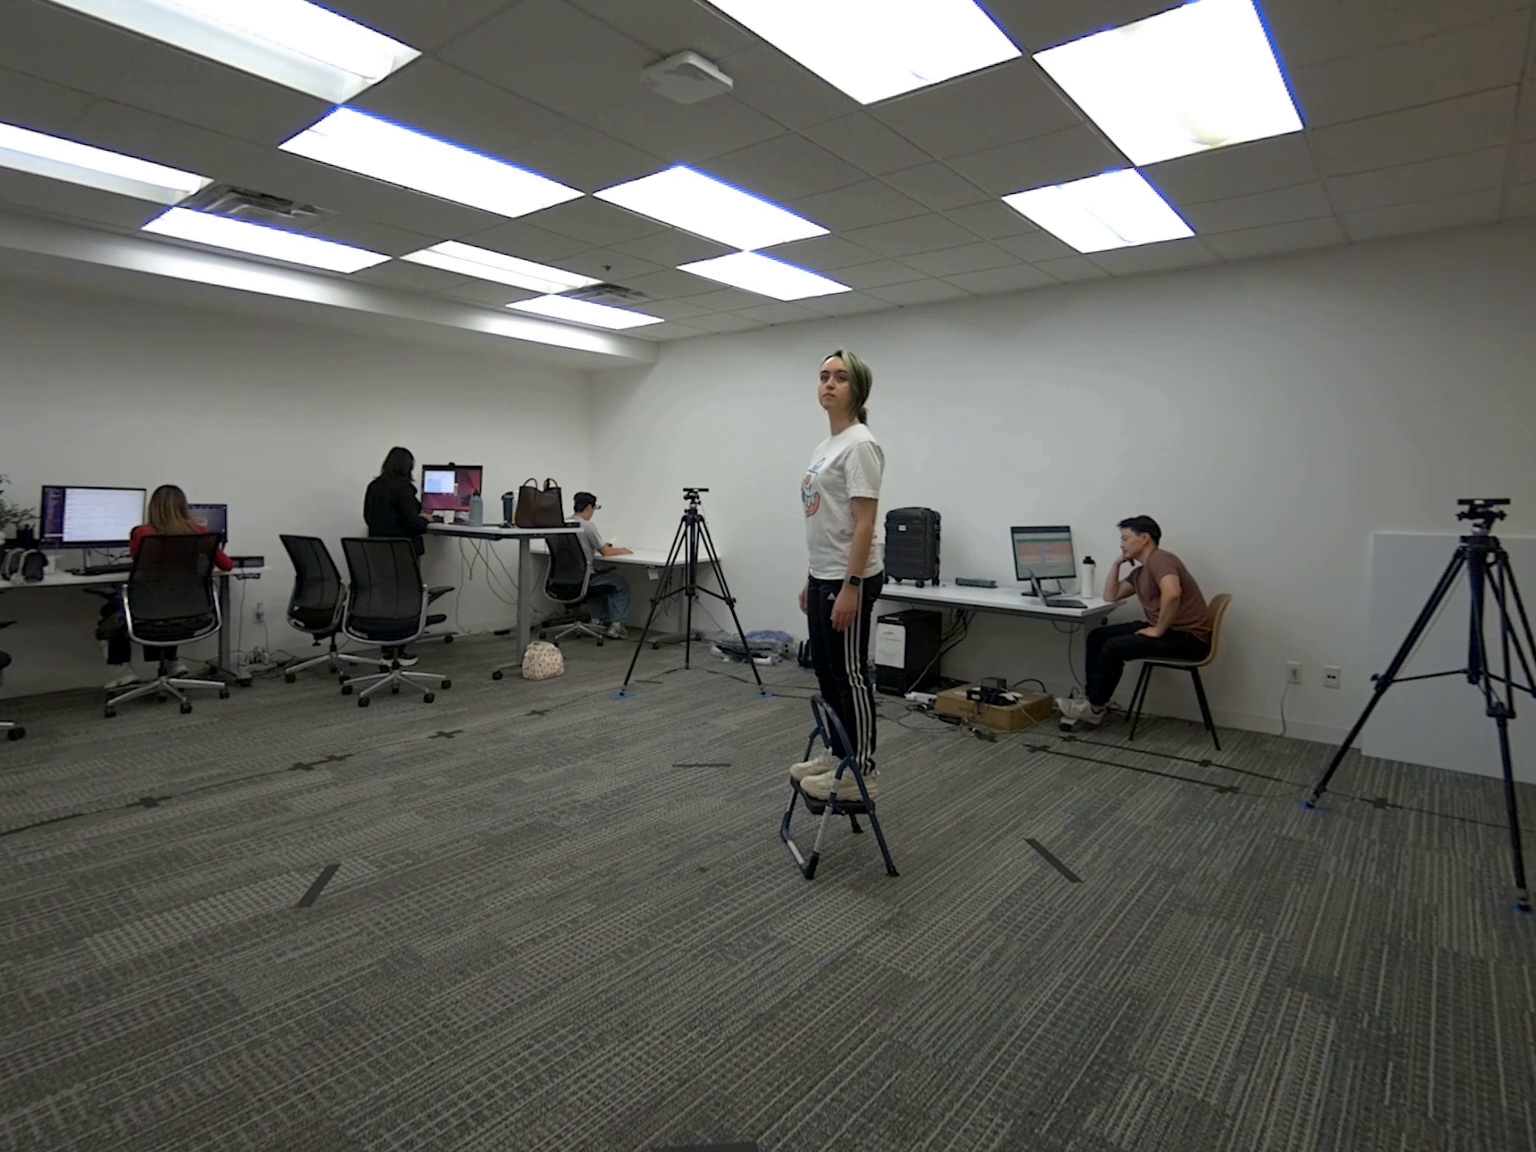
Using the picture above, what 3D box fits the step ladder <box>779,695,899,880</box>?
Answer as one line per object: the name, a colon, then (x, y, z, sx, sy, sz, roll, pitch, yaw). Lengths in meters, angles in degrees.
step ladder: (0.259, 0.766, 3.255, 0.345, 0.604, 0.437, 2, 3, -12)
